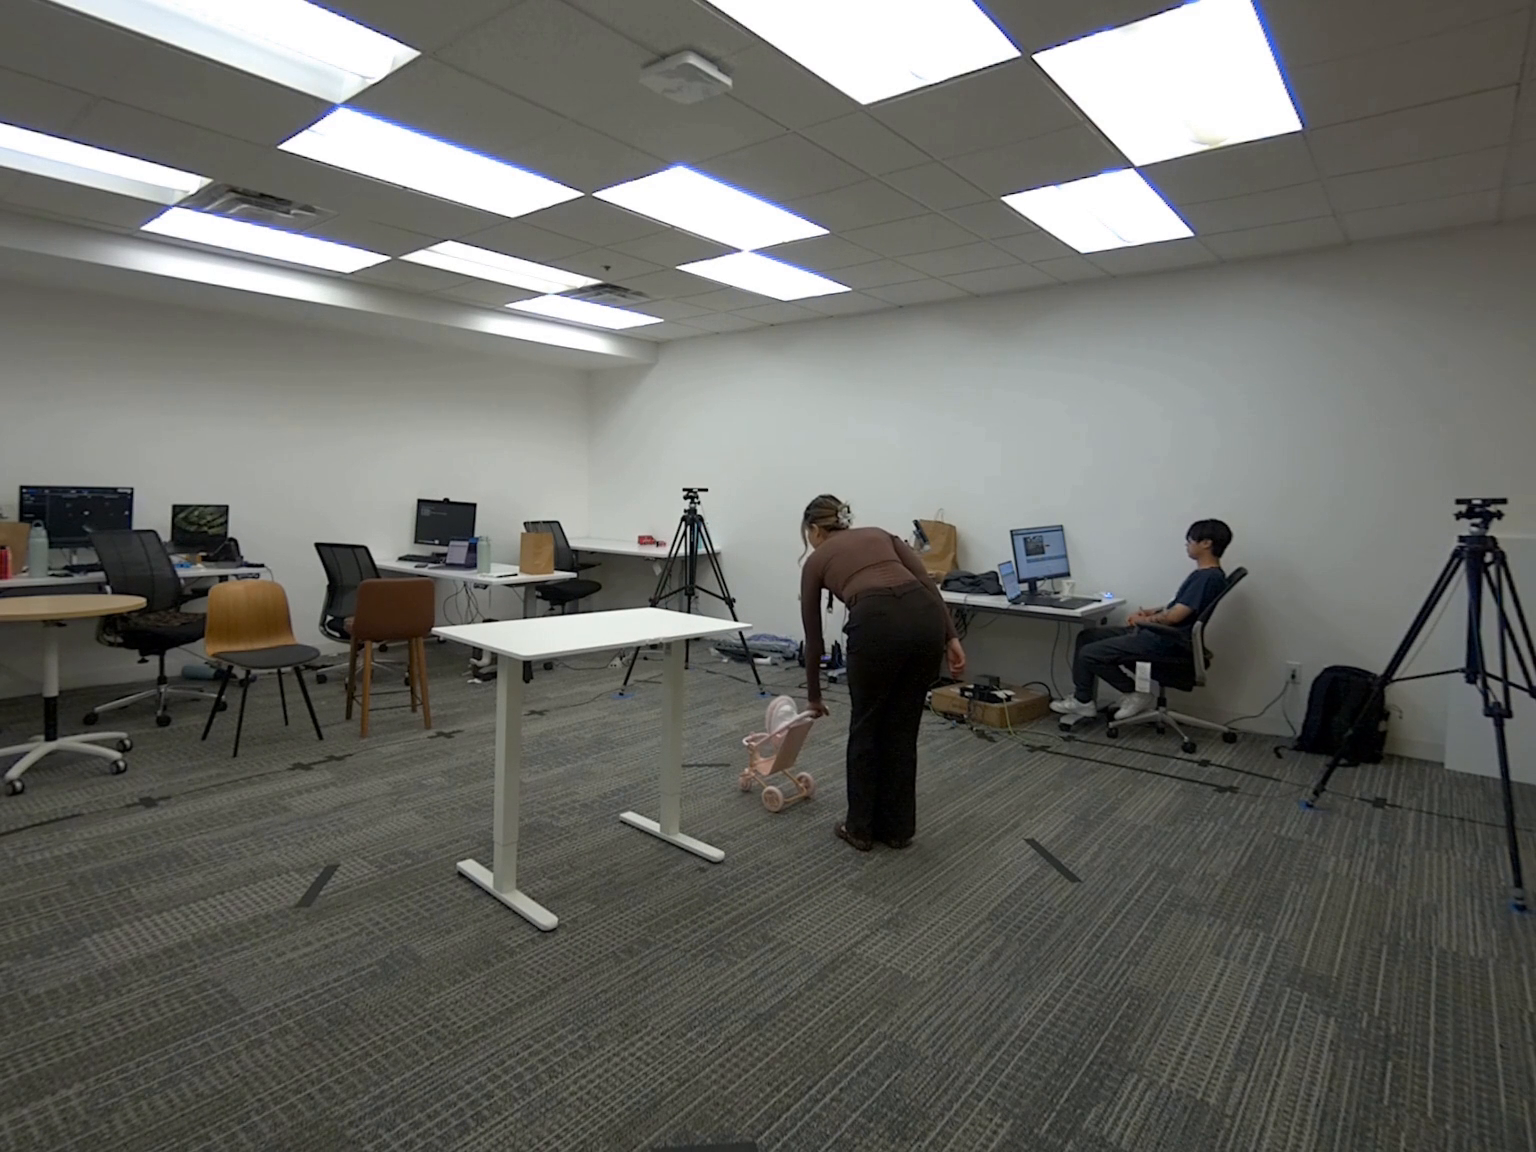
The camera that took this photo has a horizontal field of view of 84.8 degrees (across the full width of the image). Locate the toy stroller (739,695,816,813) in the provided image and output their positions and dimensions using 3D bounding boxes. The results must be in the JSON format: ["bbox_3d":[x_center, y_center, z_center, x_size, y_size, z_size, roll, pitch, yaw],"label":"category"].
[{"bbox_3d":[0.038,0.772,3.815,0.355,0.530,0.273,21,15,41],"label":"toy stroller"}]
